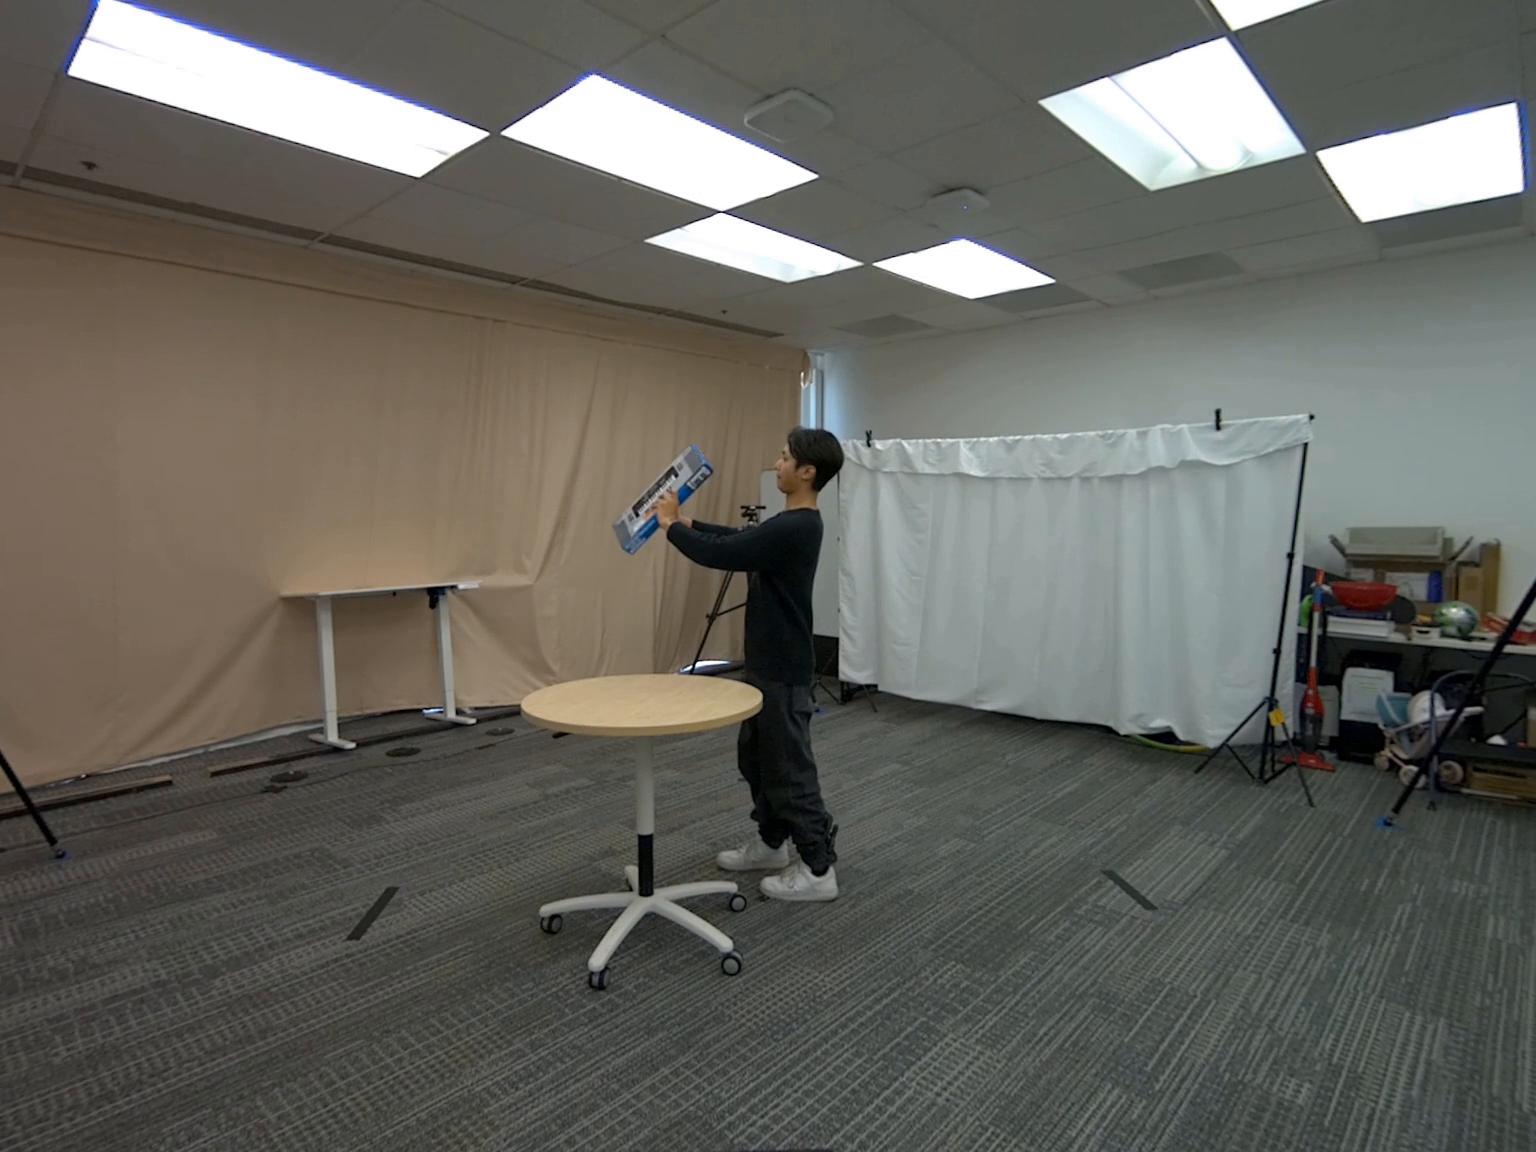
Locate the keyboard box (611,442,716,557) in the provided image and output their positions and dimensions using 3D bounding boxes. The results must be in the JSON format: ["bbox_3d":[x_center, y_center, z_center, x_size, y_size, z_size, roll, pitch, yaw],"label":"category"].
[{"bbox_3d":[-0.392,-0.282,3.108,0.057,0.438,0.181,39,12,-35],"label":"keyboard box"}]
